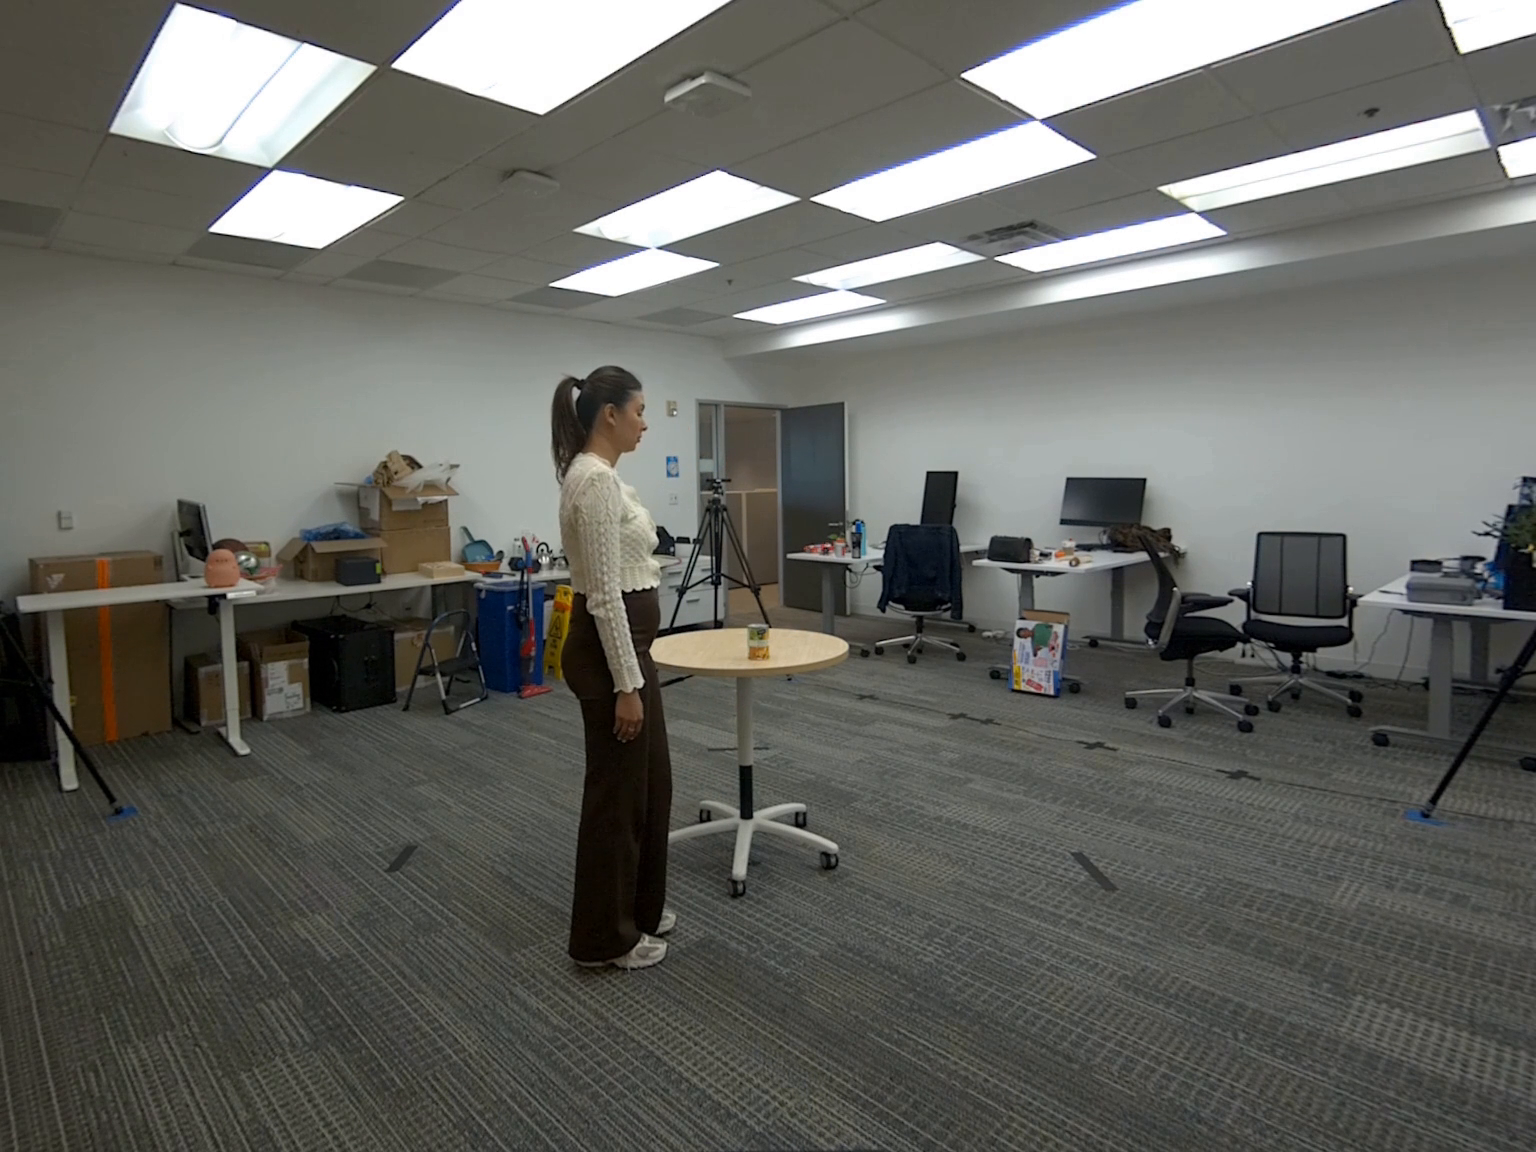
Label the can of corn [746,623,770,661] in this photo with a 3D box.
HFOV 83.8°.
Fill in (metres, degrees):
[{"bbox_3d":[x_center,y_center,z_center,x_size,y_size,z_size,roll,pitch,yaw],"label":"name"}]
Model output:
[{"bbox_3d":[-0.025,0.222,2.910,0.074,0.110,0.074,2,5,-2],"label":"can of corn"}]
